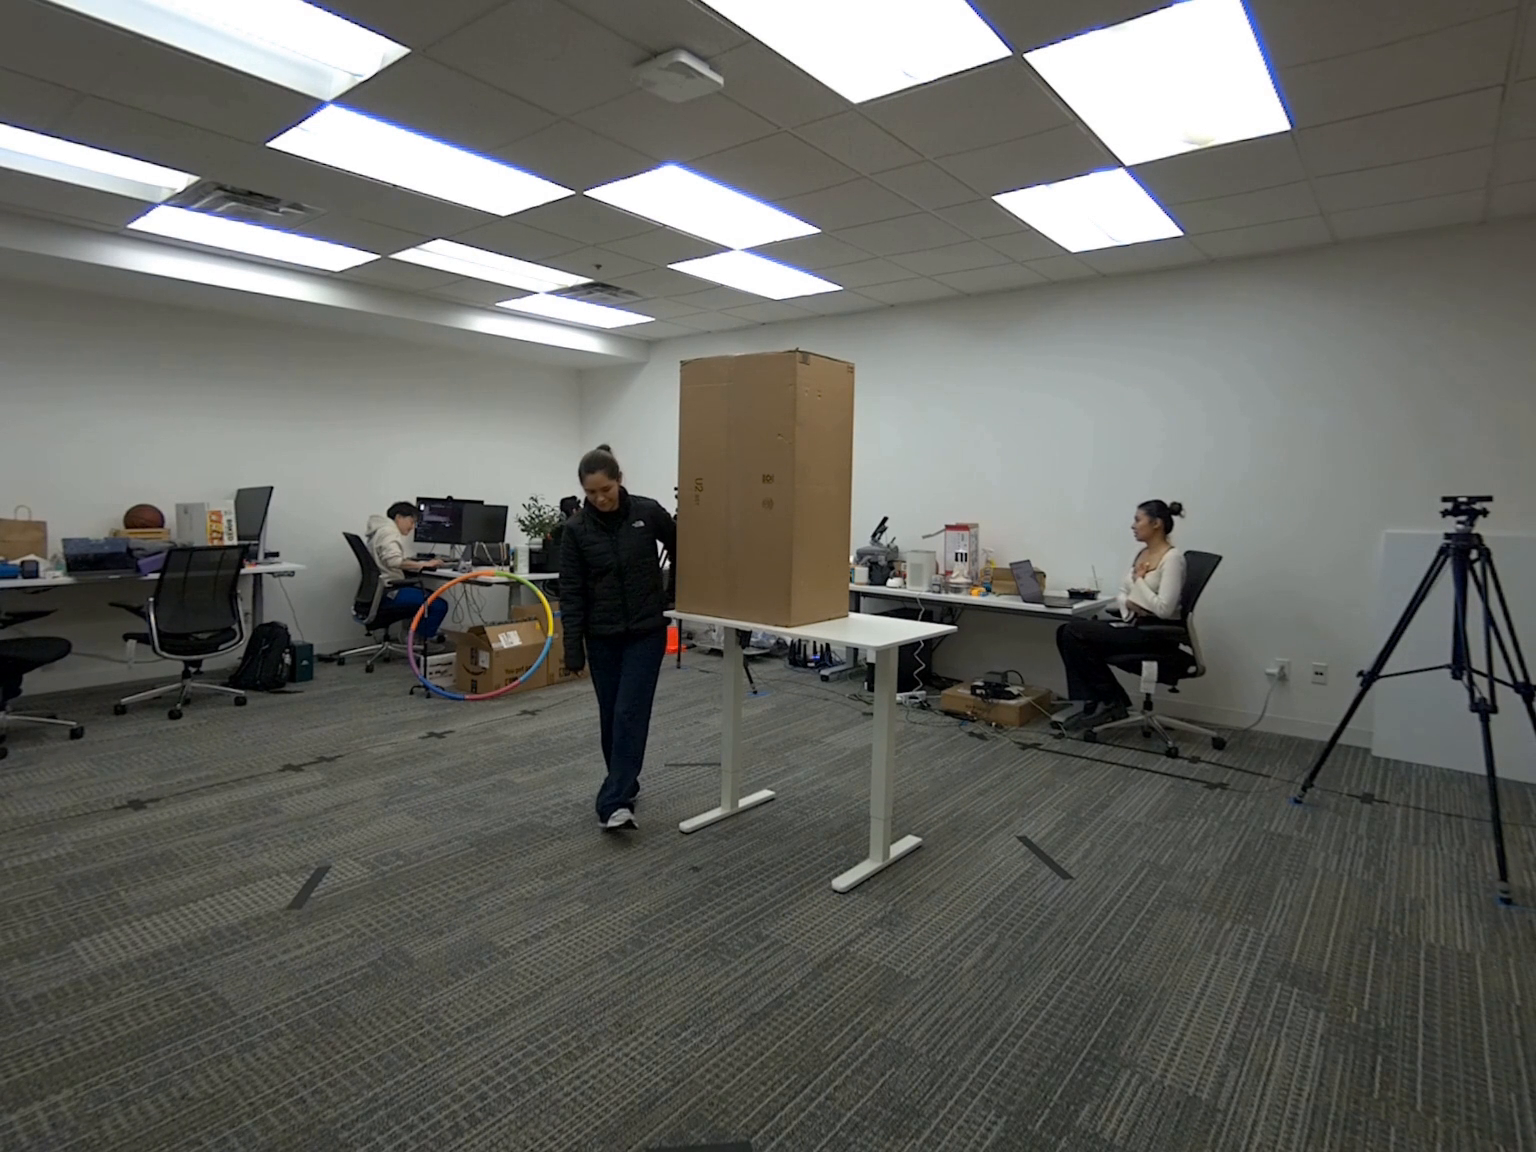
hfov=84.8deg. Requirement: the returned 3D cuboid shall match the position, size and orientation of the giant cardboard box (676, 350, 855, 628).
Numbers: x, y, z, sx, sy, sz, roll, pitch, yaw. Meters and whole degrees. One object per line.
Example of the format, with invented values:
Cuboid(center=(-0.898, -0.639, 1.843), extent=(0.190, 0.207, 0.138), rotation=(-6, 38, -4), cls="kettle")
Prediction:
Cuboid(center=(0.002, -0.355, 3.456), extent=(0.597, 1.023, 0.413), rotation=(4, 4, 38), cls="giant cardboard box")
